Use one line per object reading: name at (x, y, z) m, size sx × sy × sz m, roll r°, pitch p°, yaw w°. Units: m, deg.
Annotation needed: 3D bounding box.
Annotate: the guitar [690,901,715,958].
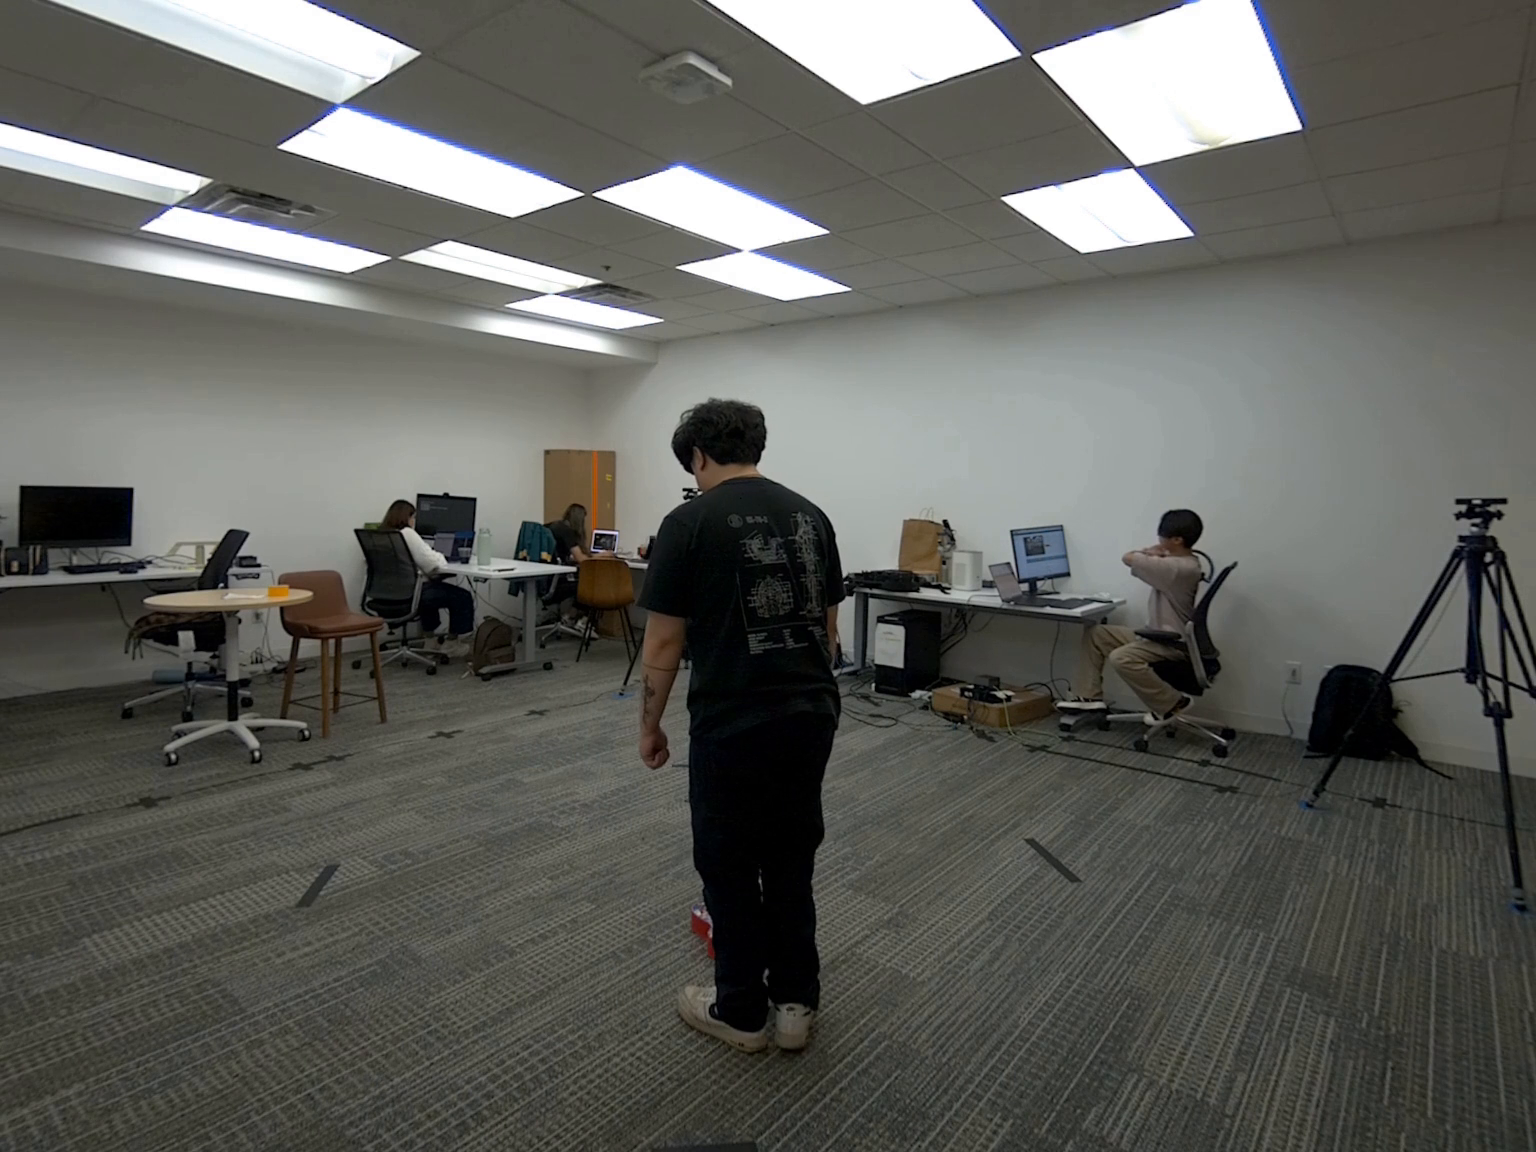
guitar at (-0.128, 1.090, 2.510) m, size 0.192 × 0.070 × 0.502 m, roll 1°, pitch 5°, yaw -7°
